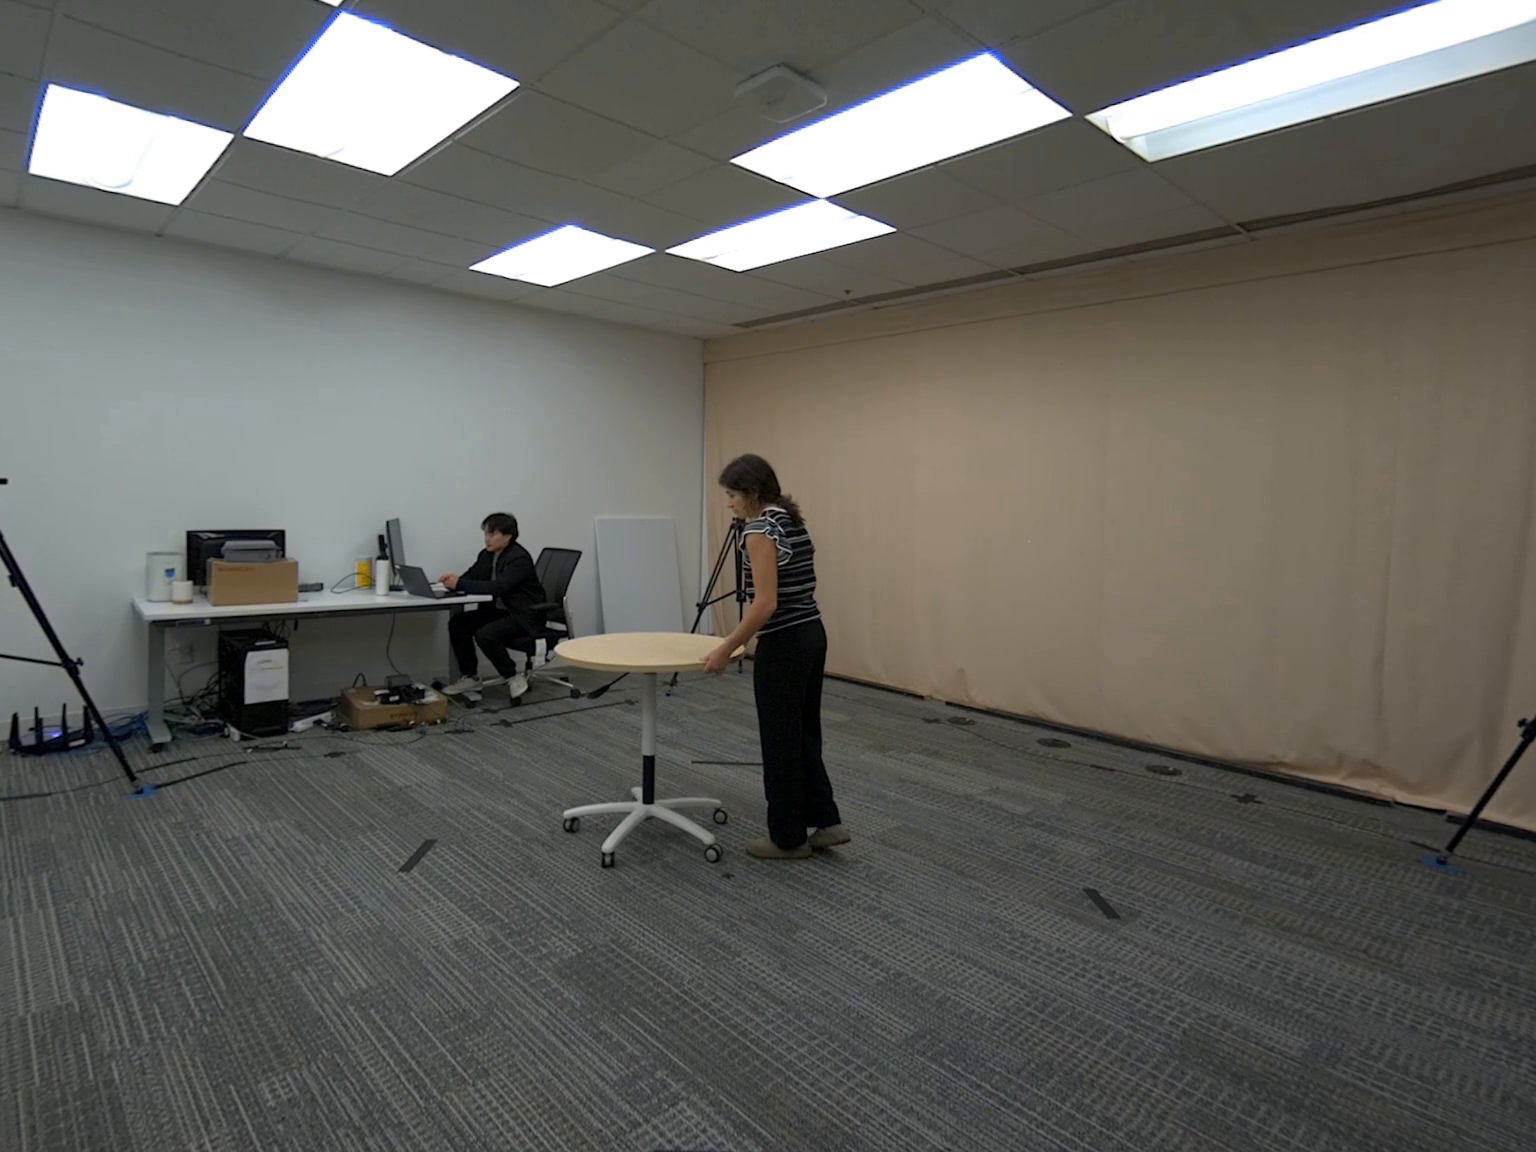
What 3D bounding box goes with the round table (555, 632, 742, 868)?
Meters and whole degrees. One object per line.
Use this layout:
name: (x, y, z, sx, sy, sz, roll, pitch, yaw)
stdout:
round table: (-0.495, 0.674, 3.415, 0.784, 0.784, 0.788, 1, 4, -1)
